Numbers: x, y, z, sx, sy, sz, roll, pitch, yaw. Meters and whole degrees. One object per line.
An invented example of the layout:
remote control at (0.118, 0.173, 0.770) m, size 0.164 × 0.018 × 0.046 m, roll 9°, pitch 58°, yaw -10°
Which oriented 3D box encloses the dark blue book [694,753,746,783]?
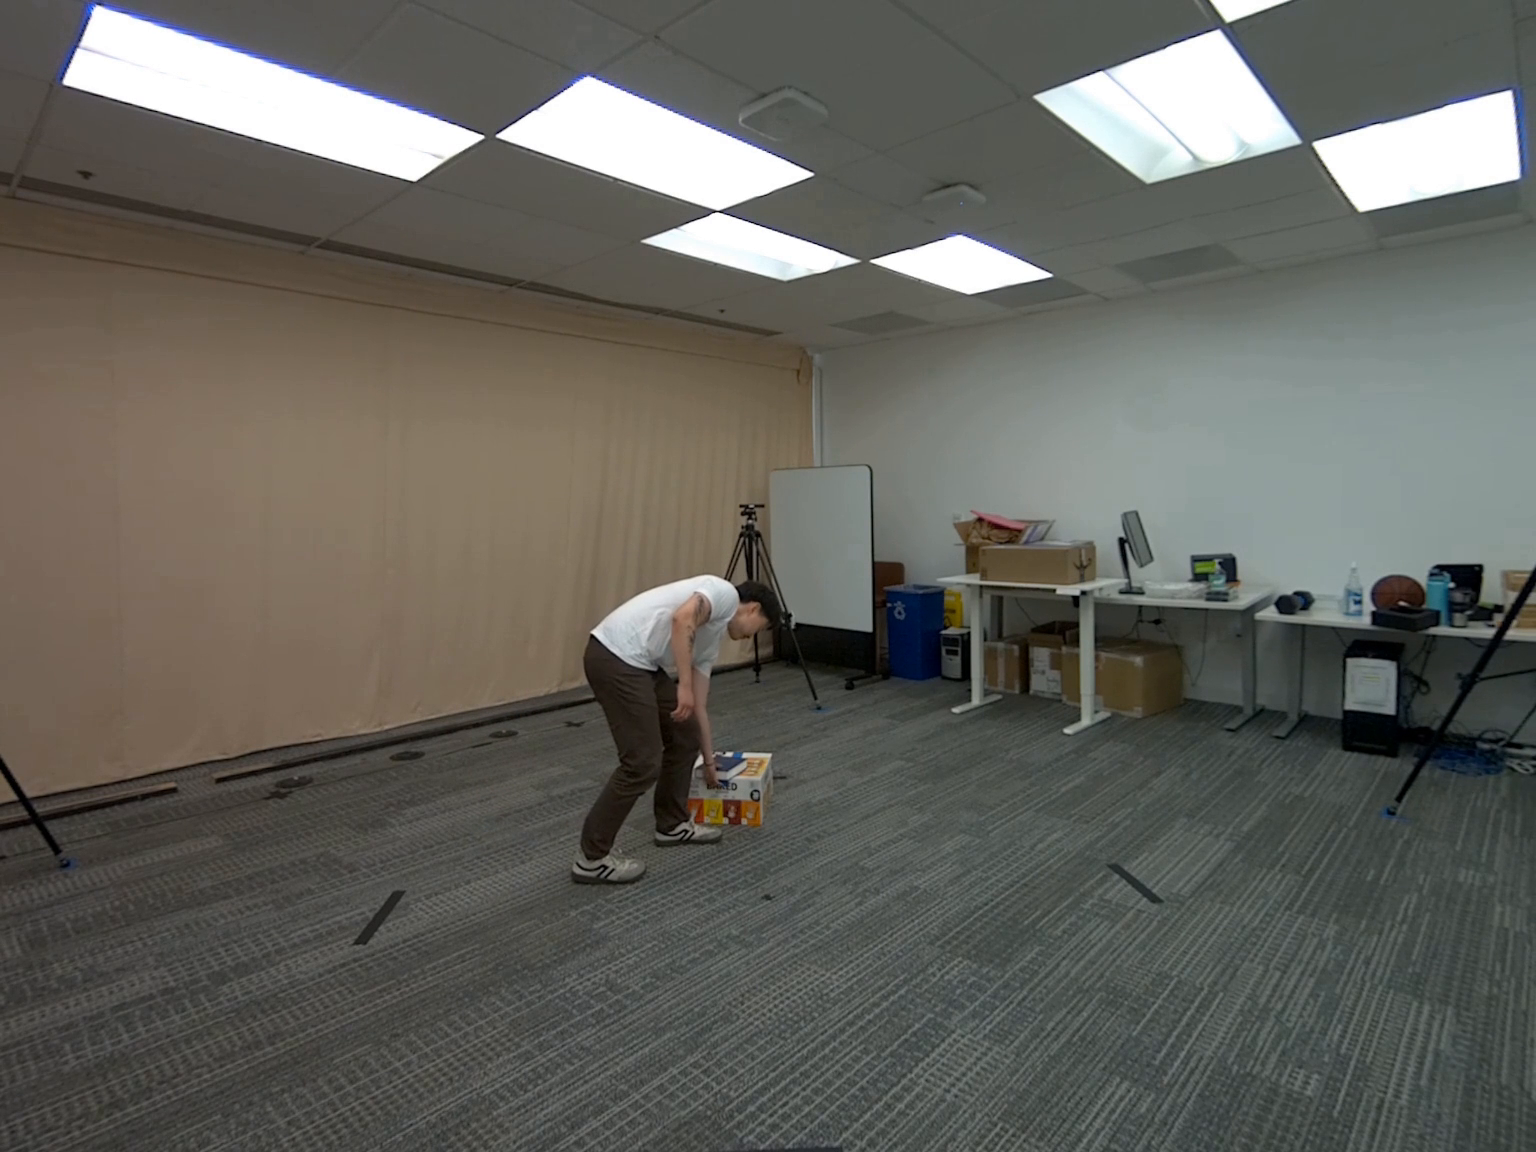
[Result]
dark blue book at (-0.204, 0.861, 3.786) m, size 0.167 × 0.045 × 0.240 m, roll 0°, pitch 2°, yaw 21°
